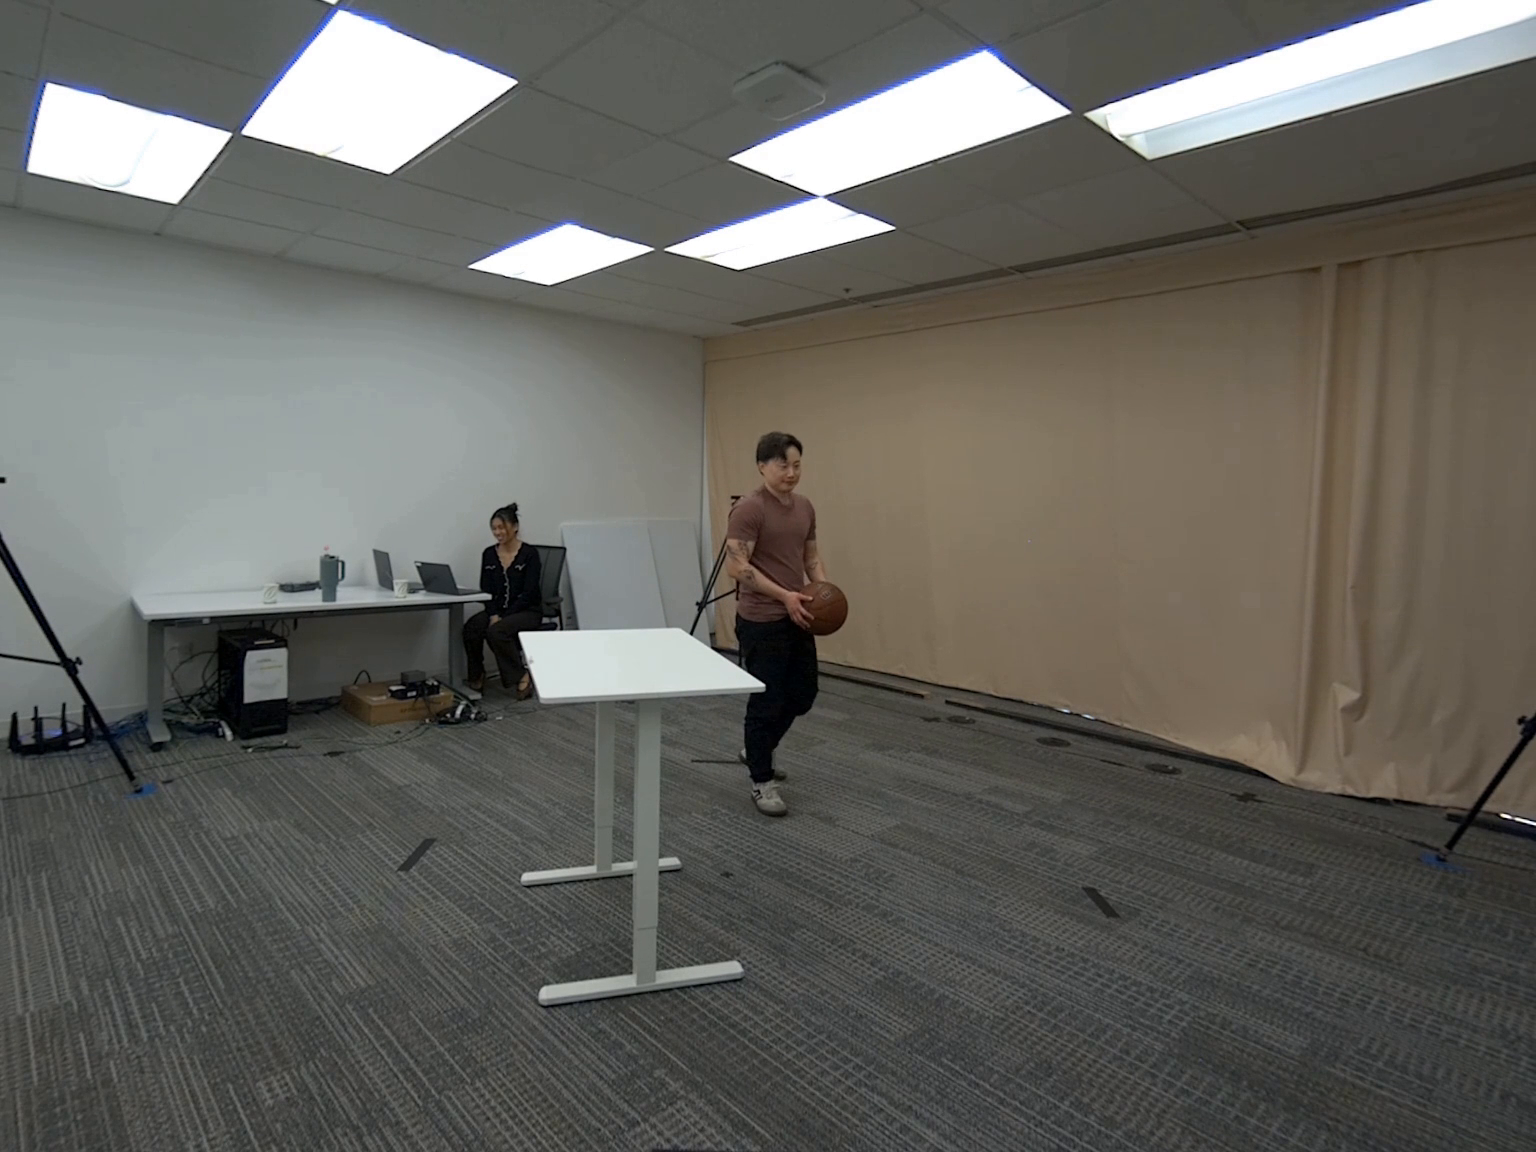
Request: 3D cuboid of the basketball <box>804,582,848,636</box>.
[{"bbox_3d":[0.202,0.139,3.654,0.236,0.235,0.237,1,4,-1],"label":"basketball"}]
